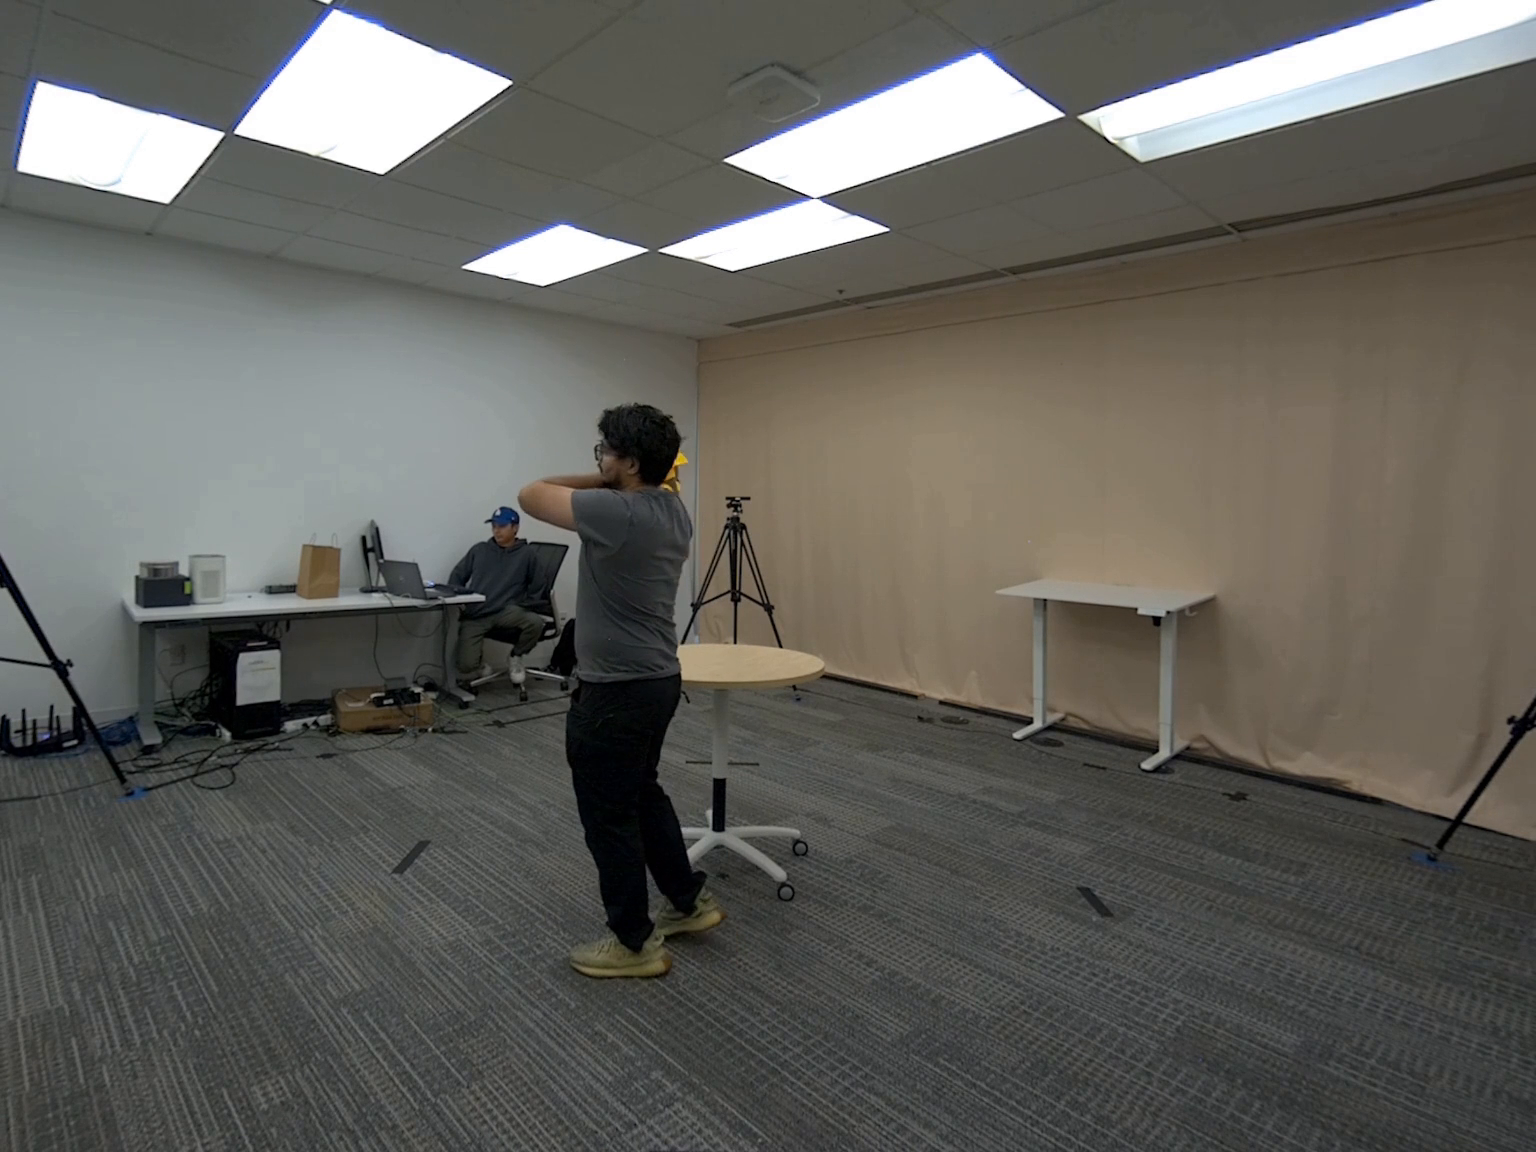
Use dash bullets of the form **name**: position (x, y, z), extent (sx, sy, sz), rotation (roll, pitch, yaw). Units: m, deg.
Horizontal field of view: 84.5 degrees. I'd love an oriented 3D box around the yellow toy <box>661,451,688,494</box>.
- **yellow toy**: position (-0.367, -0.356, 2.550), extent (0.195, 0.229, 0.204), rotation (-8, 9, 18)
